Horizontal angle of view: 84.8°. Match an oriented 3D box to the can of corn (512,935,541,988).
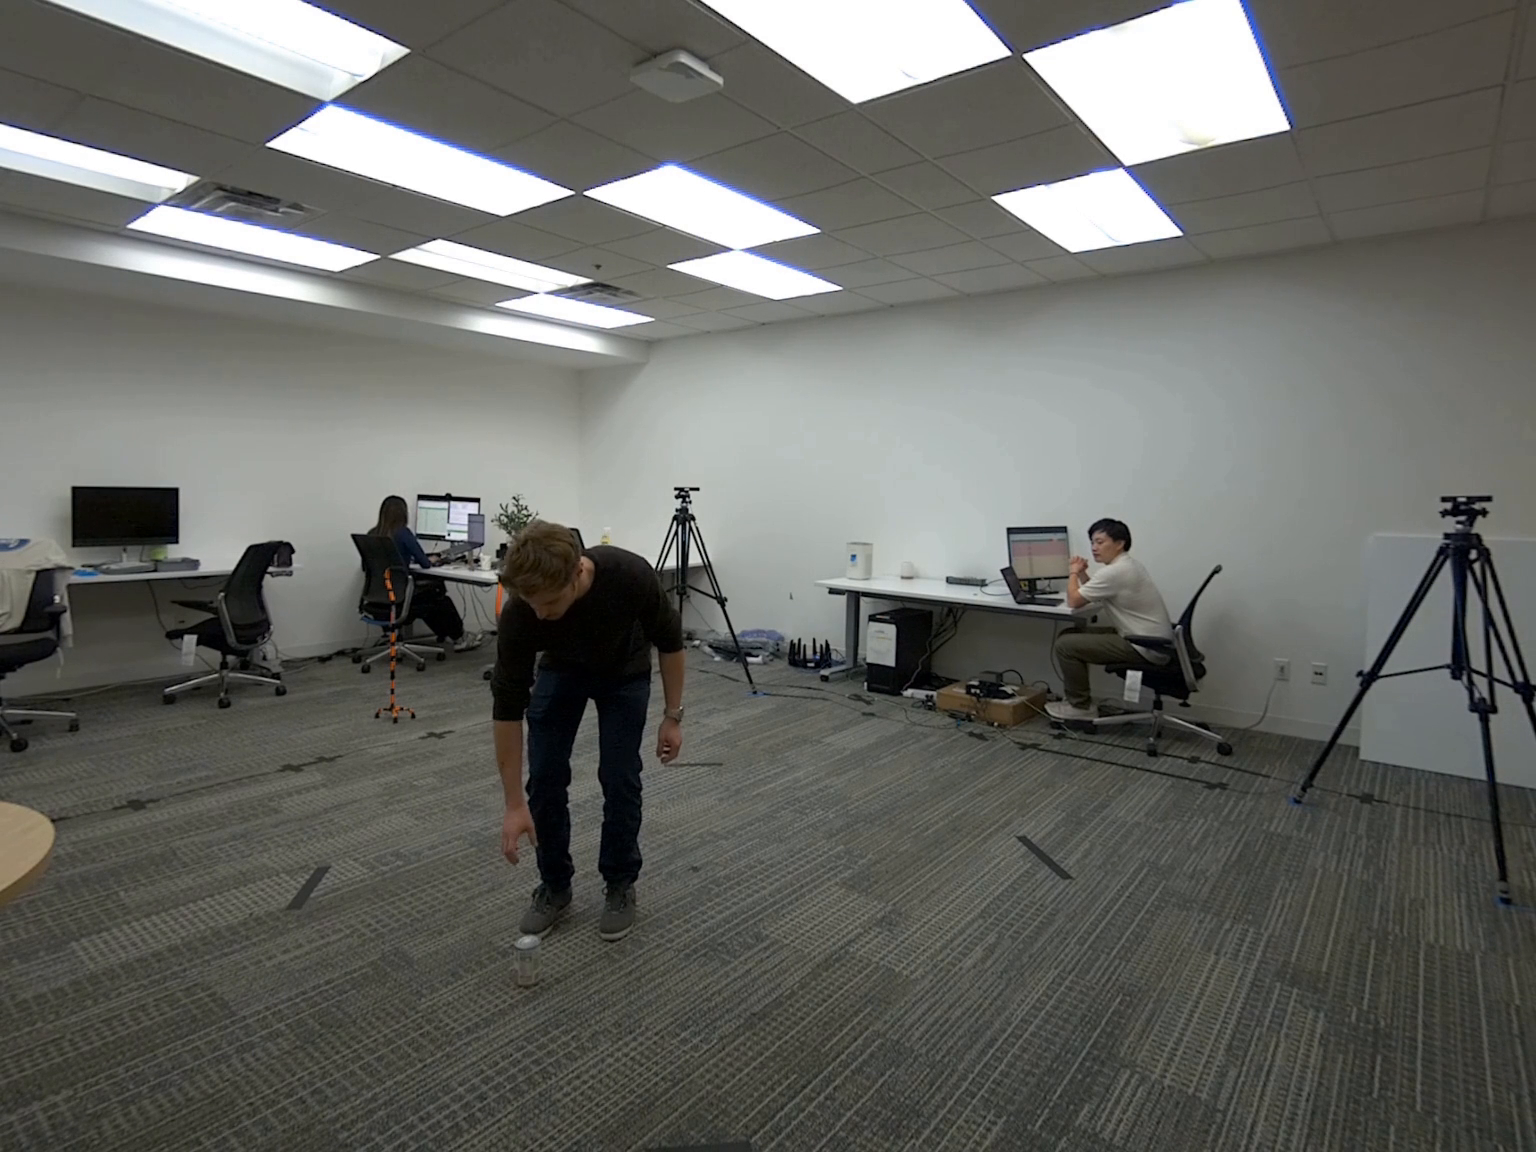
[{"bbox_3d":[-0.681,1.076,2.386,0.074,0.110,0.074,2,5,-2],"label":"can of corn"}]
